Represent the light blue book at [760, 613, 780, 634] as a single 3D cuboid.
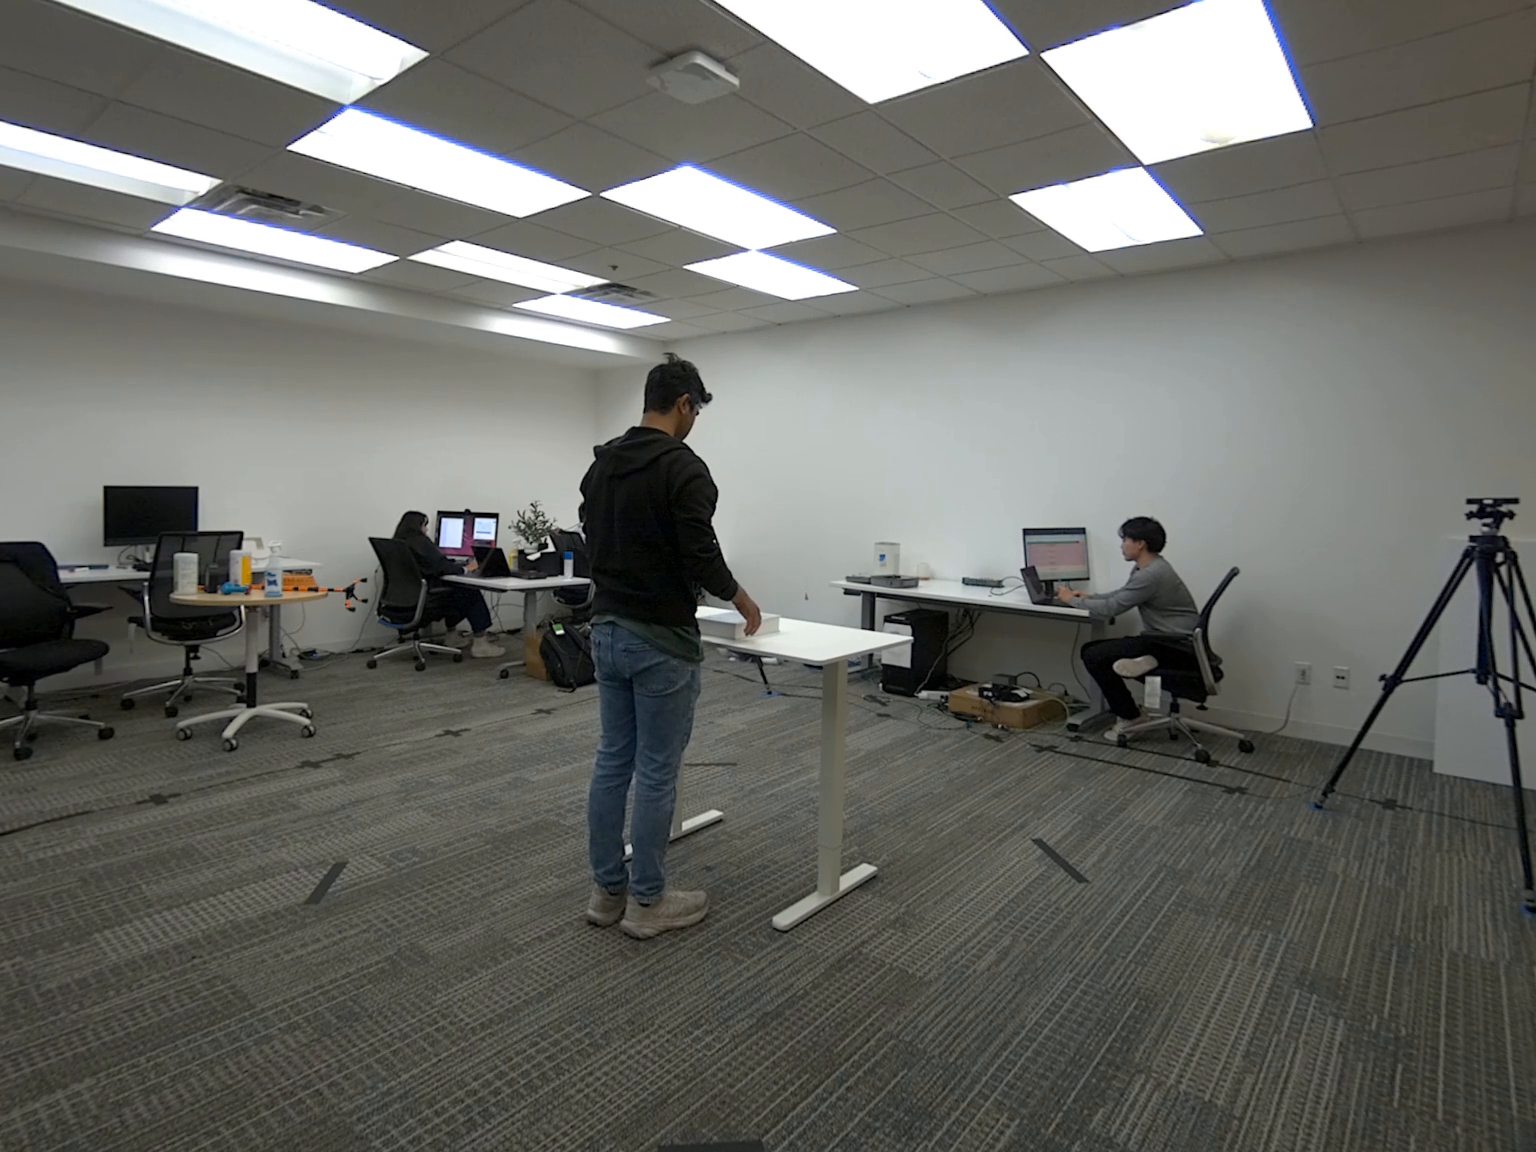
[{"bbox_3d":[-0.116,0.174,2.994,0.198,0.059,0.253,6,7,39],"label":"light blue book"}]
